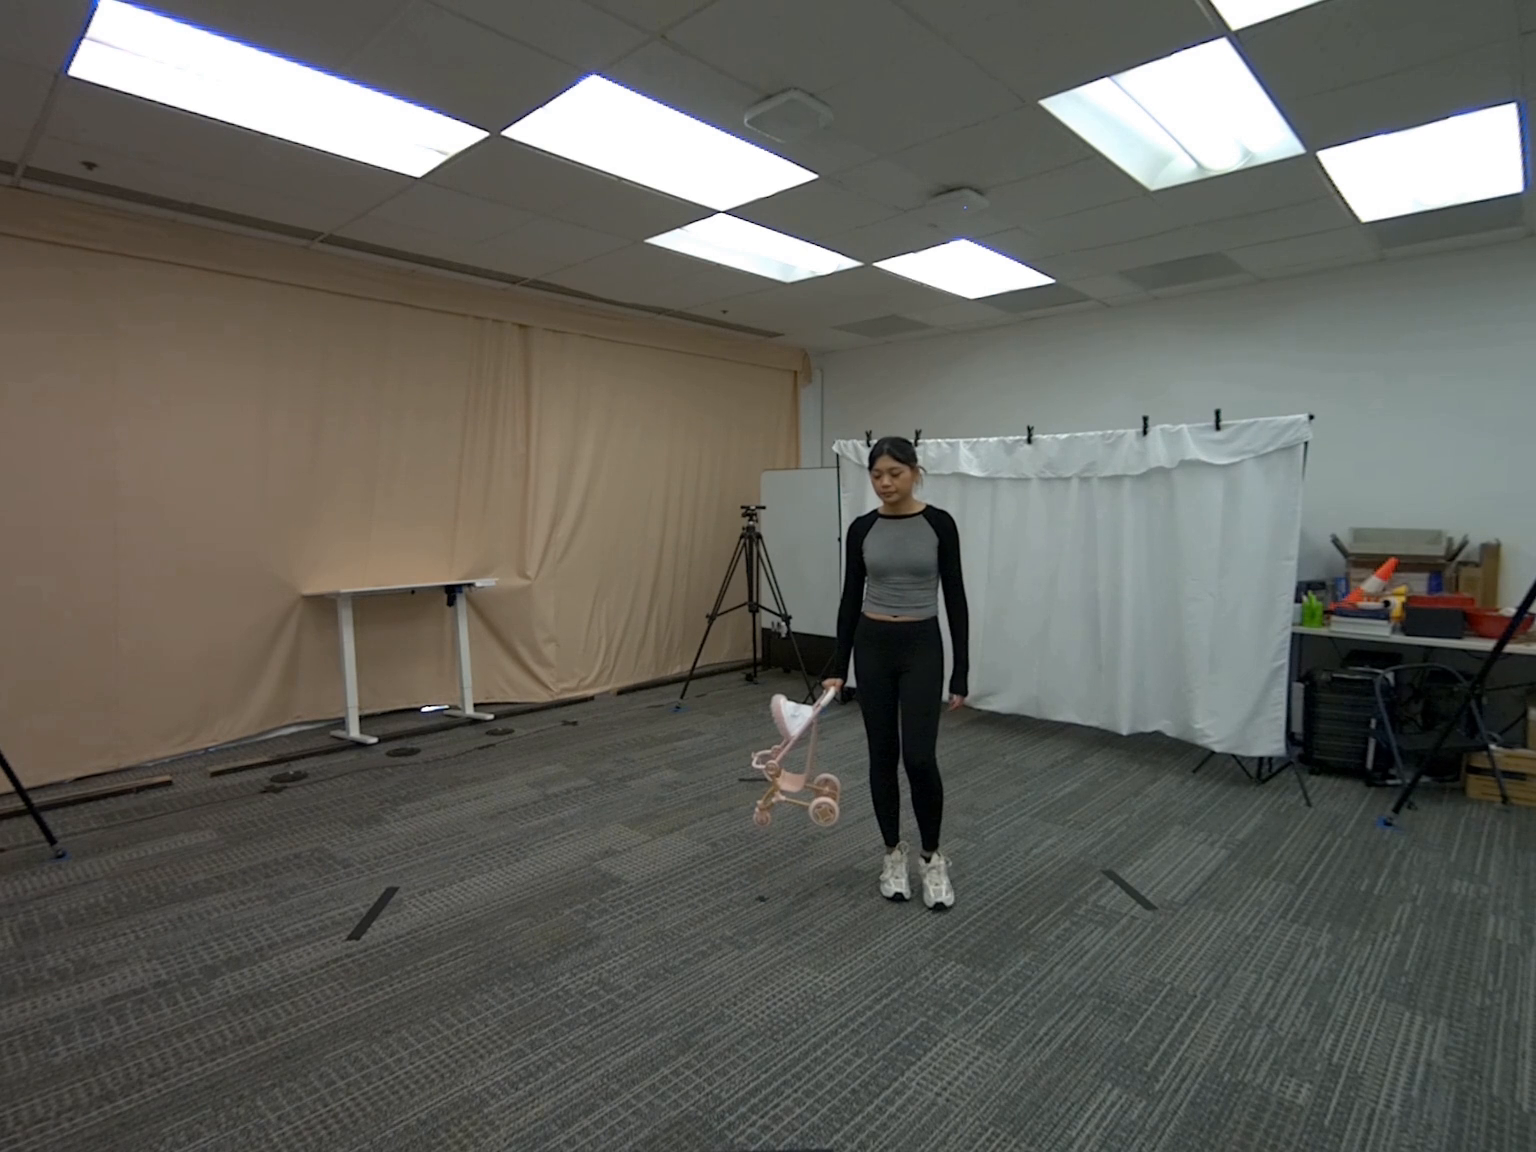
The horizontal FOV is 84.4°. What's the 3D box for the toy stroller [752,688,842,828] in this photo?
[{"bbox_3d":[0.098,0.678,3.118,0.347,0.533,0.278,-3,4,14],"label":"toy stroller"}]
